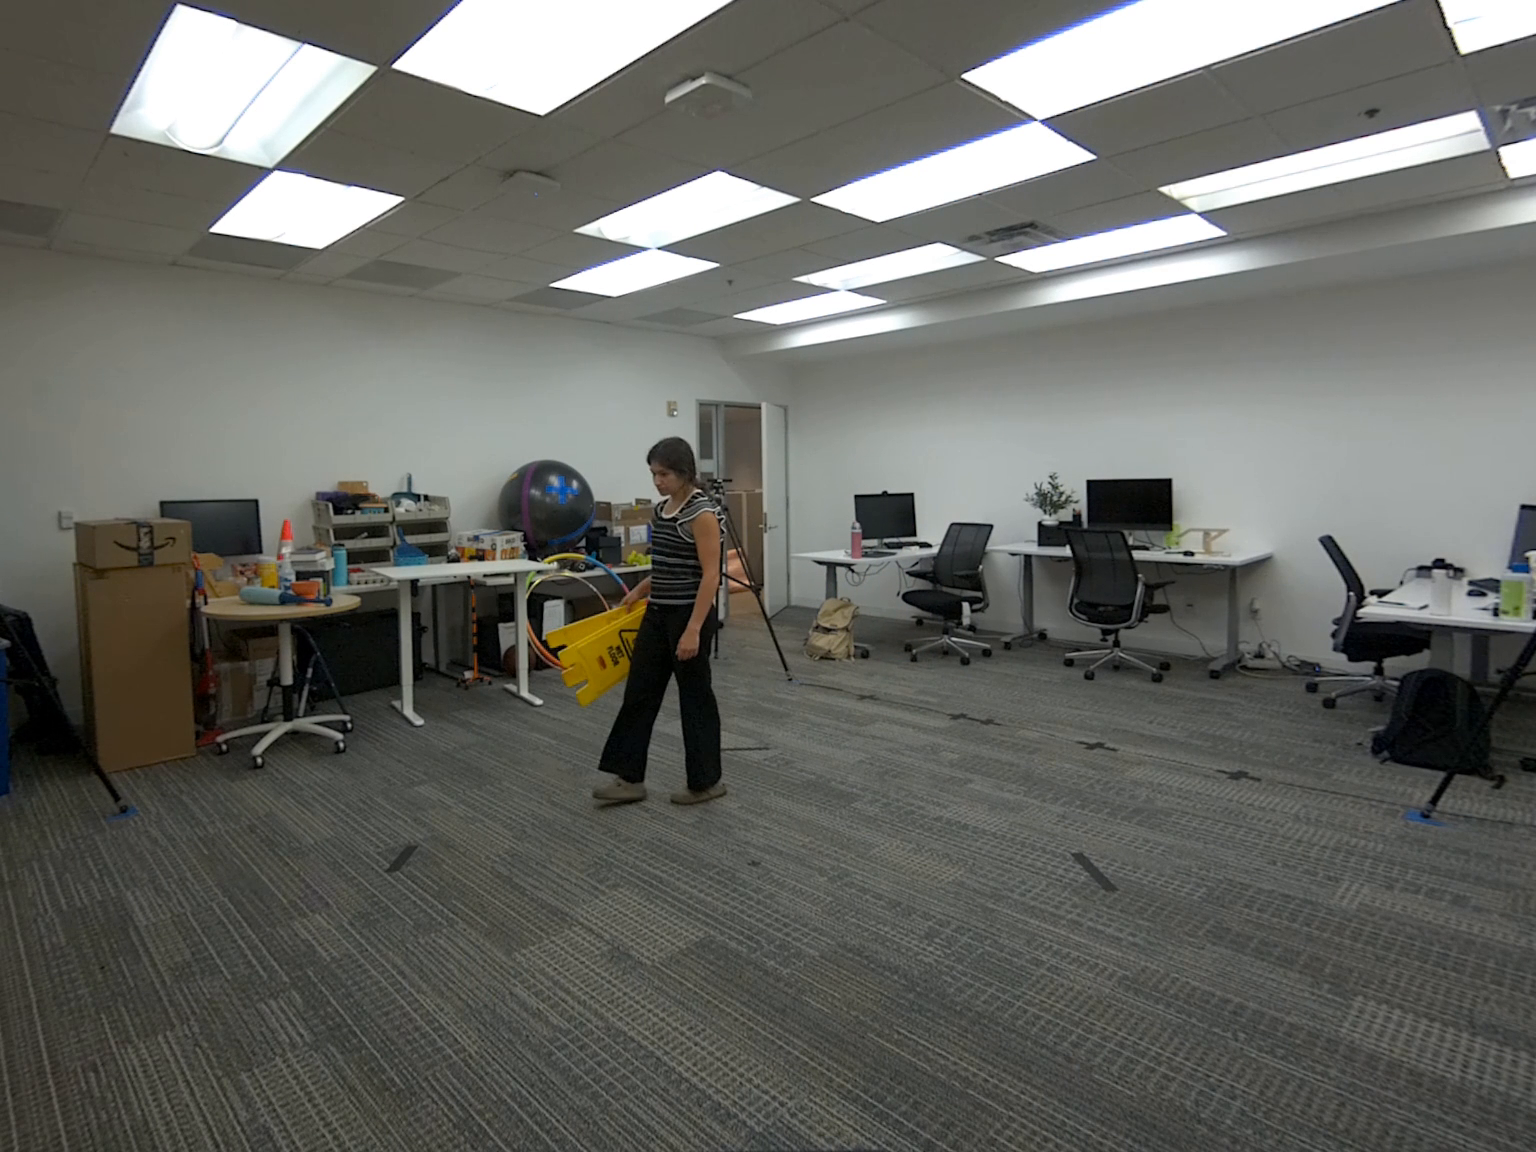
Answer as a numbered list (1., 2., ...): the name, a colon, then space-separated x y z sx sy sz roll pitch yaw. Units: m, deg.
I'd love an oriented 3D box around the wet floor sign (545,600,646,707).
1. wet floor sign: -0.642 0.279 3.885 0.641 0.276 0.299 -27 22 -18
